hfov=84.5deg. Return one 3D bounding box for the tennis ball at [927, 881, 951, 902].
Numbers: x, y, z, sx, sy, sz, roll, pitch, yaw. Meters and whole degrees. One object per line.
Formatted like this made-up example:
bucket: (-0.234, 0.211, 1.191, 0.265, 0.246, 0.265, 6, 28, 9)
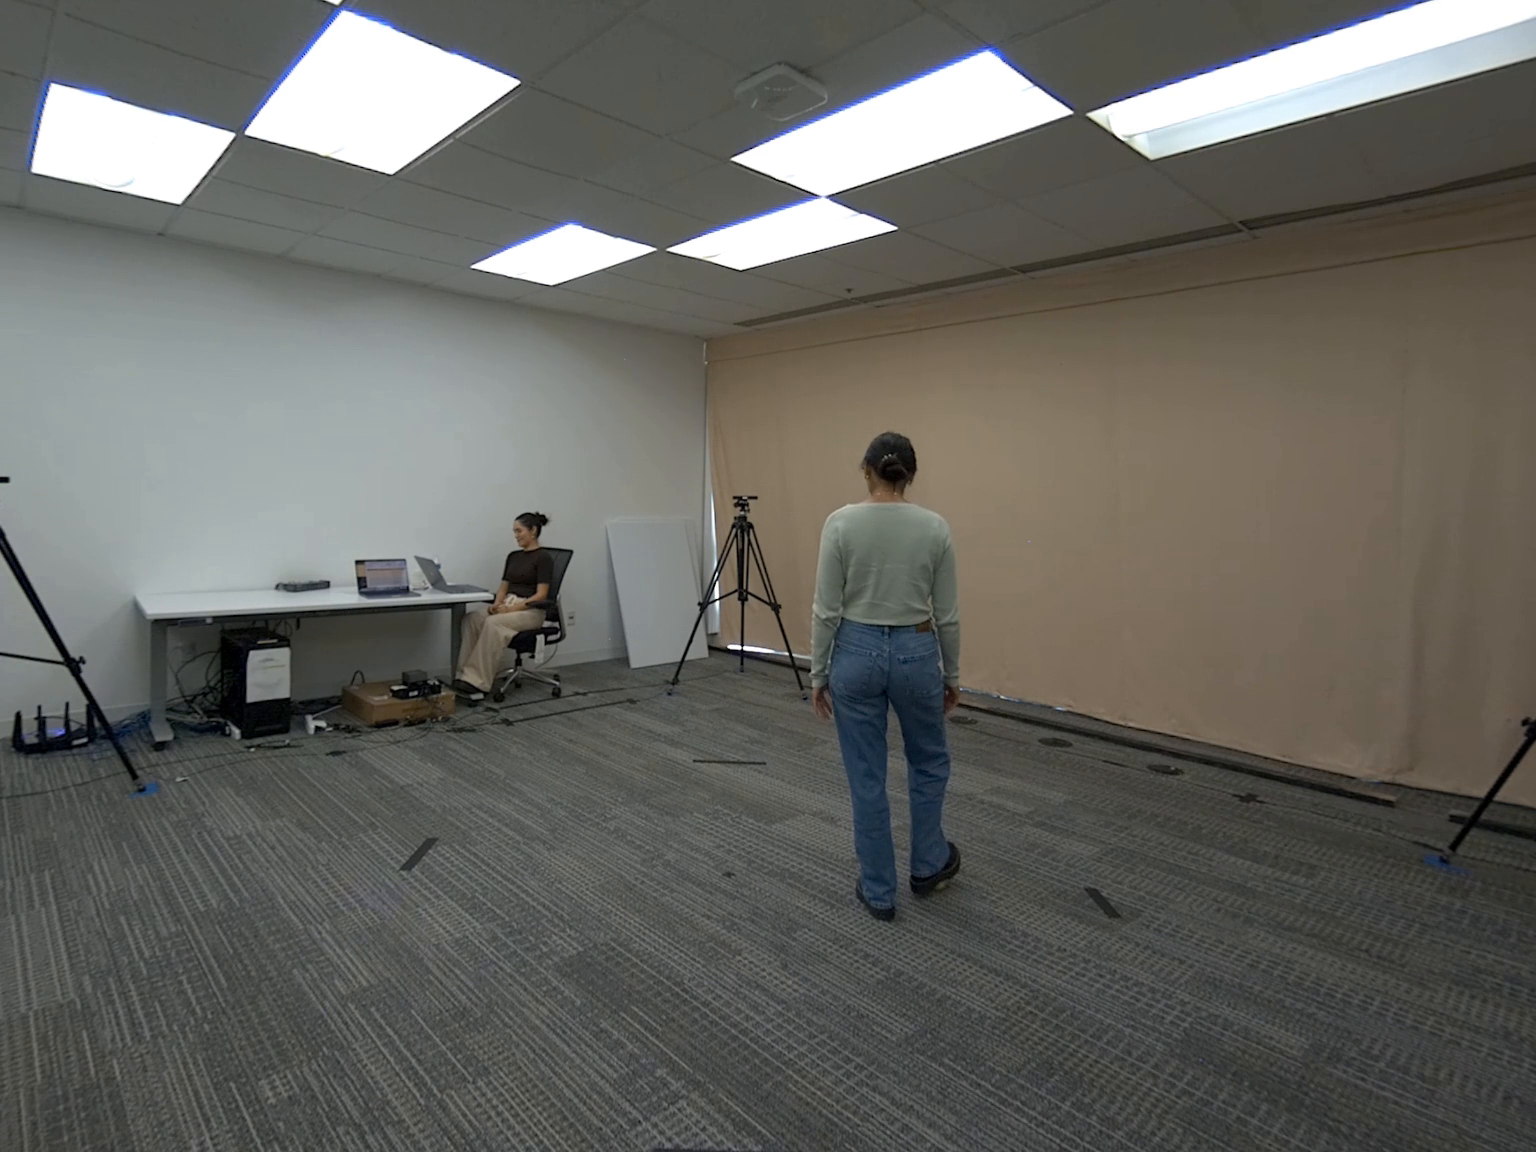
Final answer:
tennis ball: (0.610, 1.118, 3.038, 0.066, 0.066, 0.067, 1, 4, -1)
